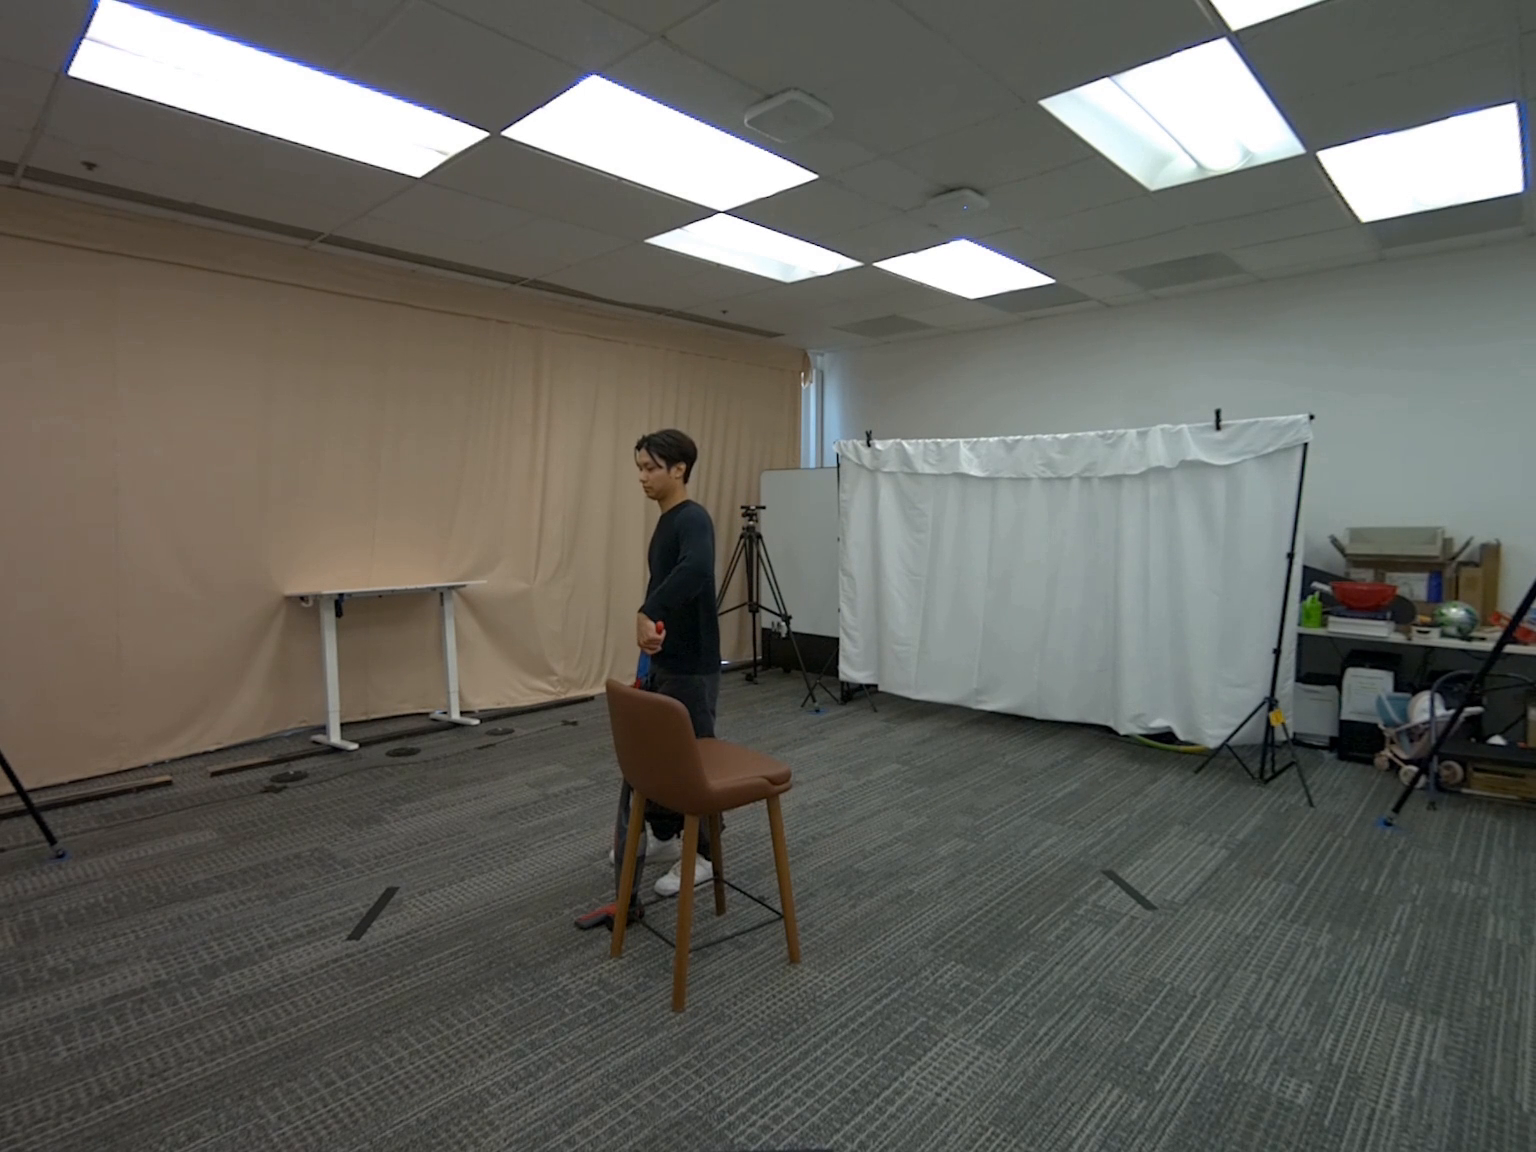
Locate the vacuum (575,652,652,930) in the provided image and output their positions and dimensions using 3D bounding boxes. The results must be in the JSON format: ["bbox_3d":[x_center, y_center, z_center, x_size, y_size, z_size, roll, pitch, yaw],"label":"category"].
[{"bbox_3d":[-0.430,0.660,2.727,0.149,1.044,0.245,19,14,38],"label":"vacuum"}]
